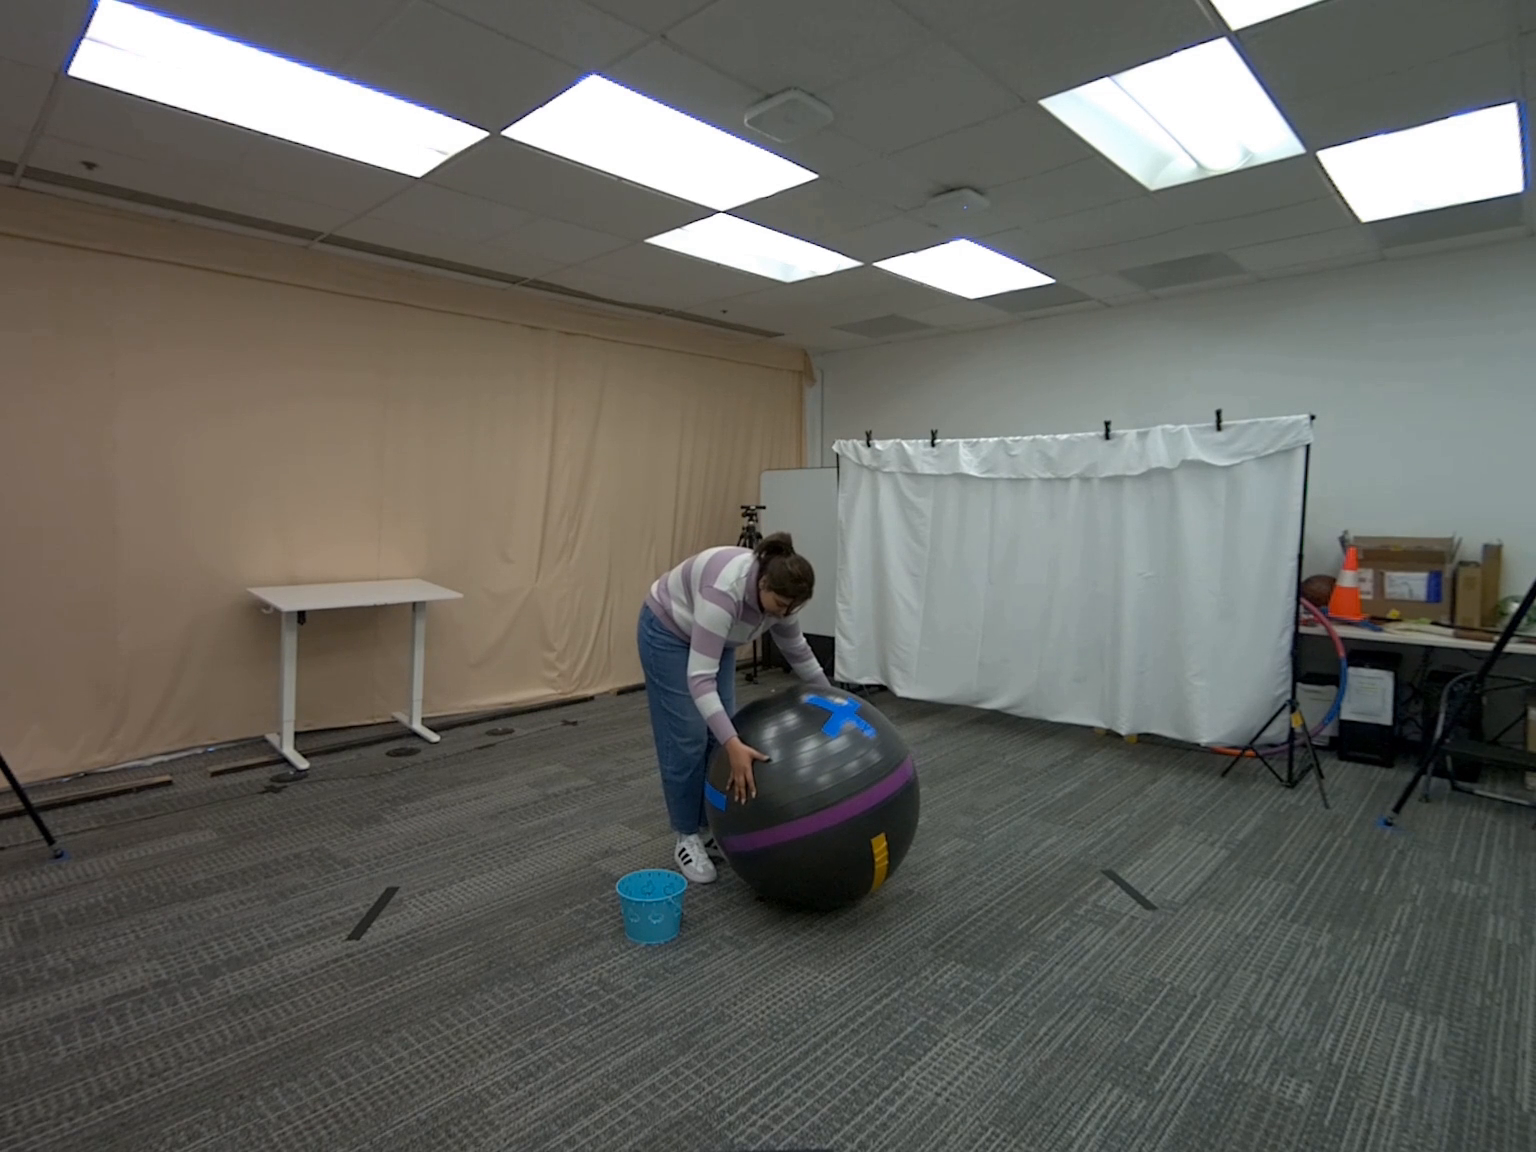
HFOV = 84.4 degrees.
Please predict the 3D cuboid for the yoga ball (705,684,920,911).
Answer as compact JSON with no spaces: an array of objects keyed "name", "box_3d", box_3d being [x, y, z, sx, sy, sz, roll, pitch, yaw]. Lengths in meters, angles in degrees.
[{"name":"yoga ball","box_3d":[0.142,0.785,2.977,0.757,0.756,0.760,0,4,-2]}]
